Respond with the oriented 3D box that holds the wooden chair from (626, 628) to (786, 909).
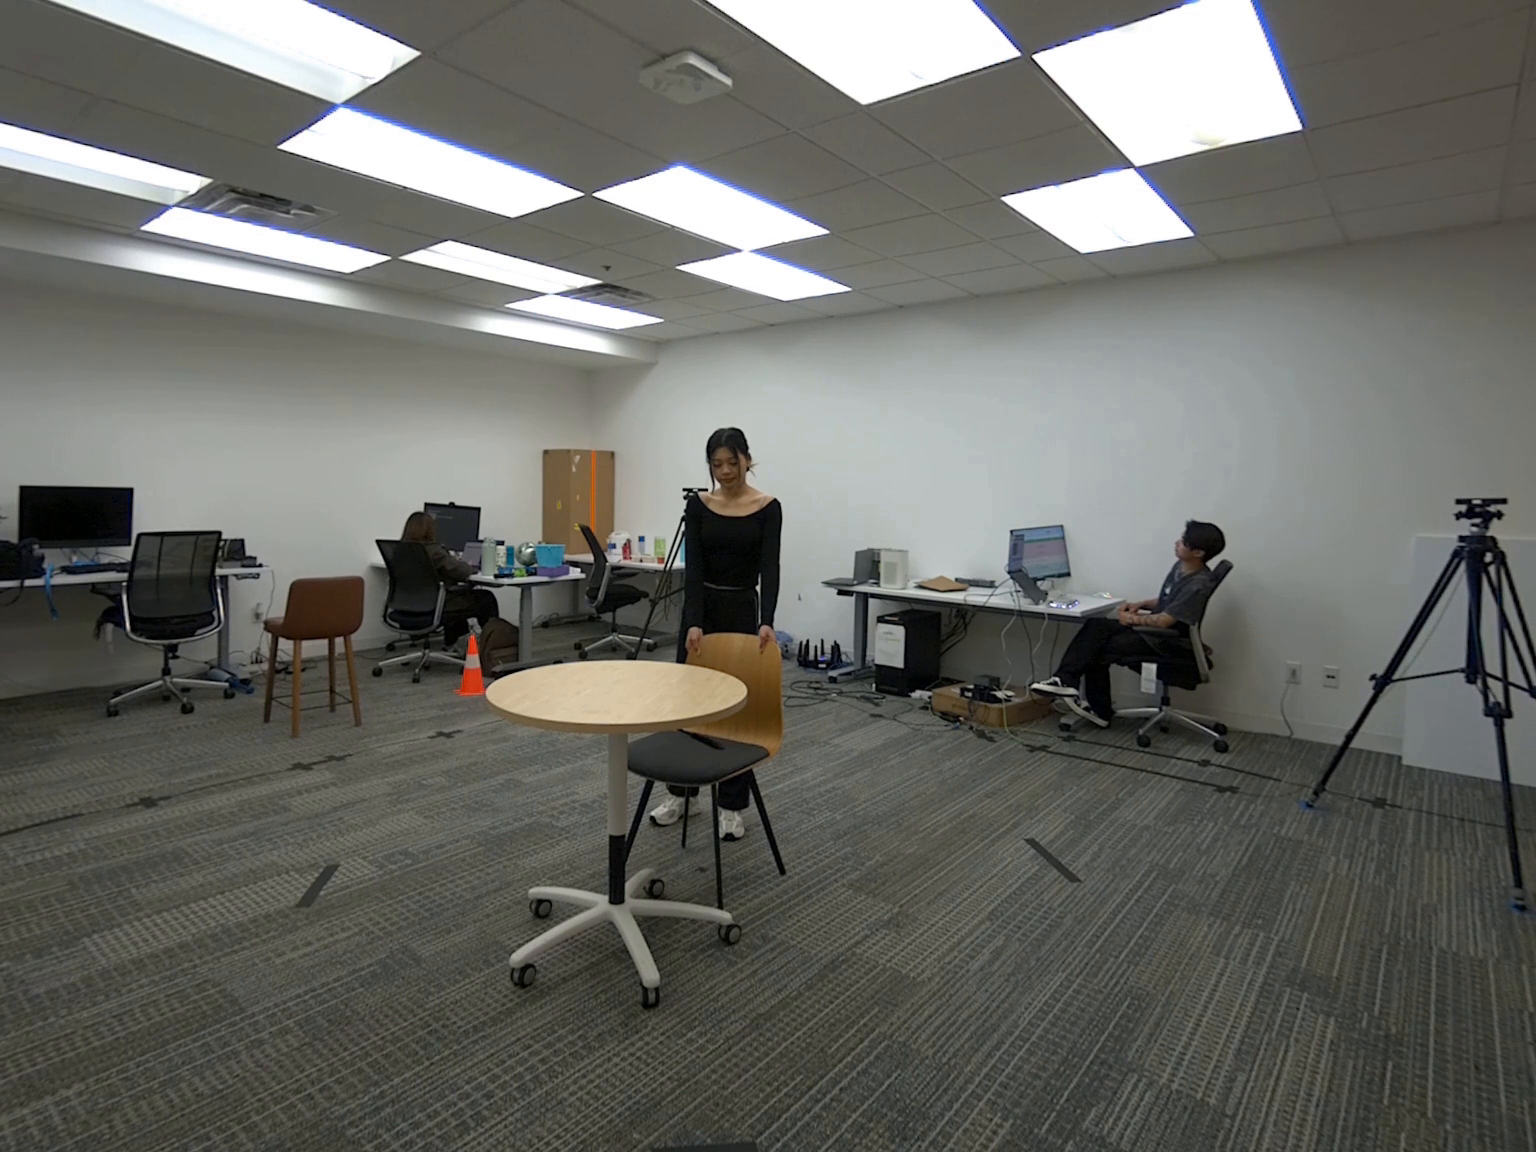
[{"bbox_3d":[-0.238,0.651,2.979,0.492,0.878,0.508,3,0,30],"label":"wooden chair"}]
